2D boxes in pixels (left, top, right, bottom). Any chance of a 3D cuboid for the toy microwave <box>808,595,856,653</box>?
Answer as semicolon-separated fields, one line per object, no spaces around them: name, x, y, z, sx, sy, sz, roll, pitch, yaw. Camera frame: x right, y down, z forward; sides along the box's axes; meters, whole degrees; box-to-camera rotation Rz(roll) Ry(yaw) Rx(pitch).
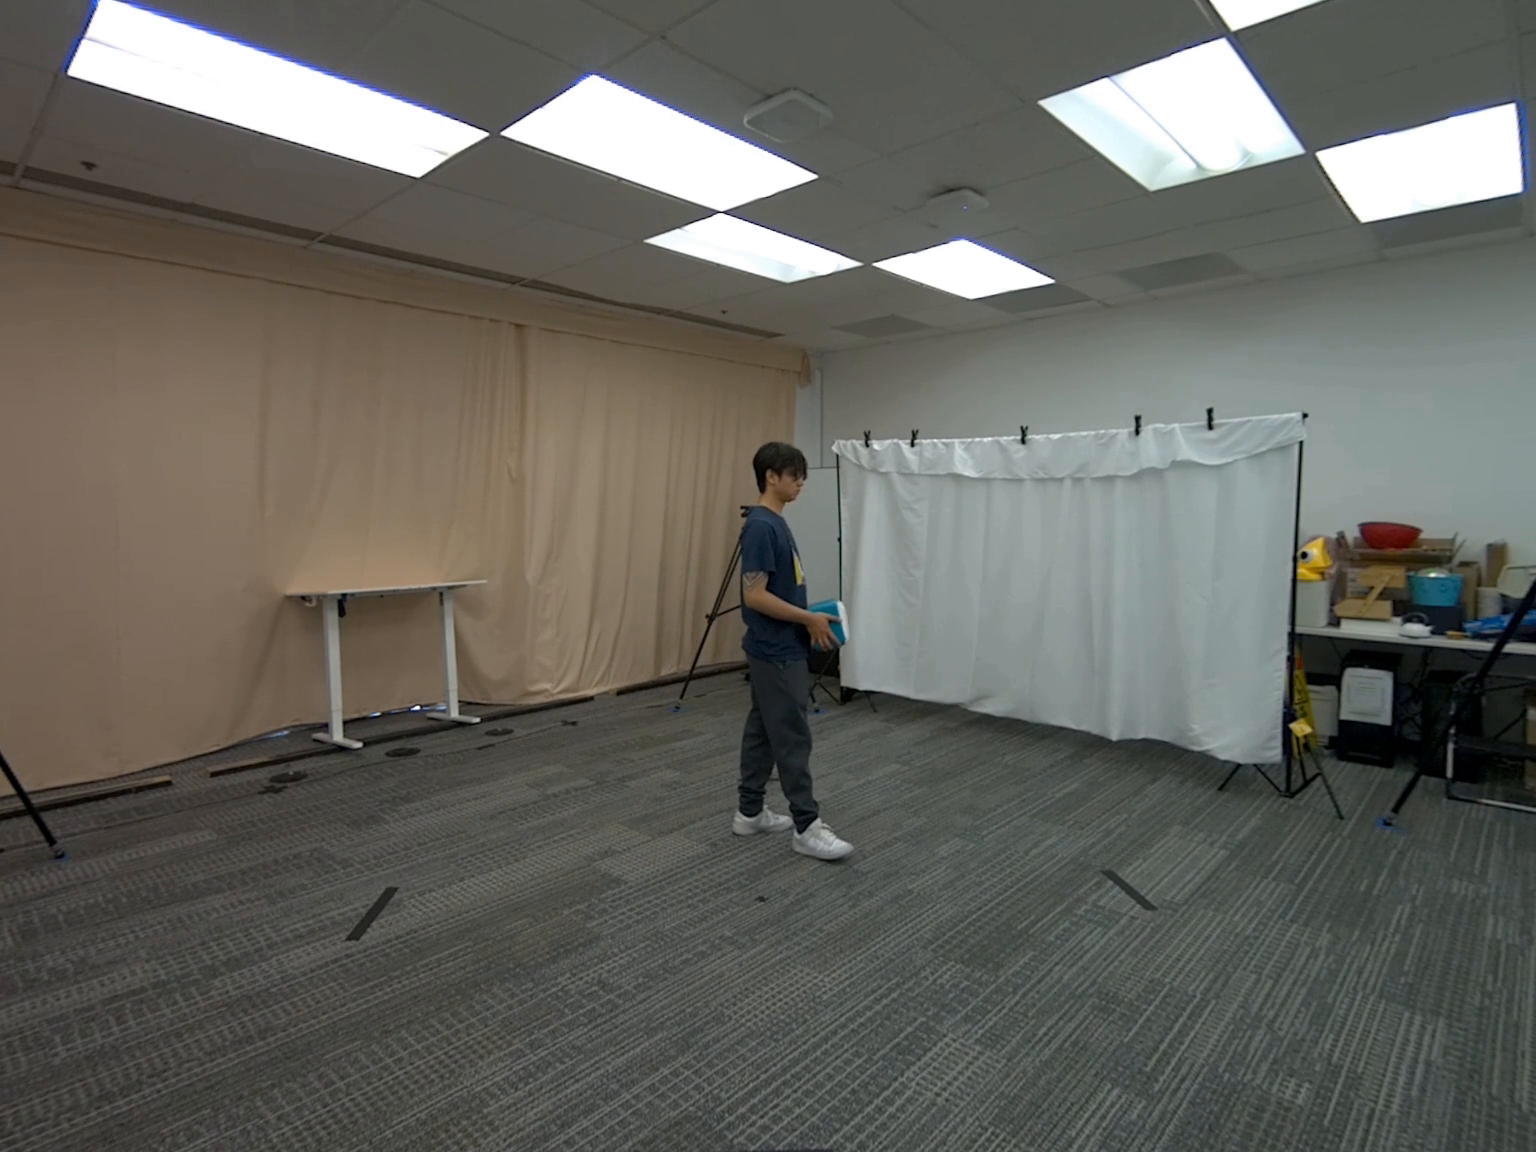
toy microwave;0.265;0.192;3.489;0.153;0.184;0.284;-10;0;7
